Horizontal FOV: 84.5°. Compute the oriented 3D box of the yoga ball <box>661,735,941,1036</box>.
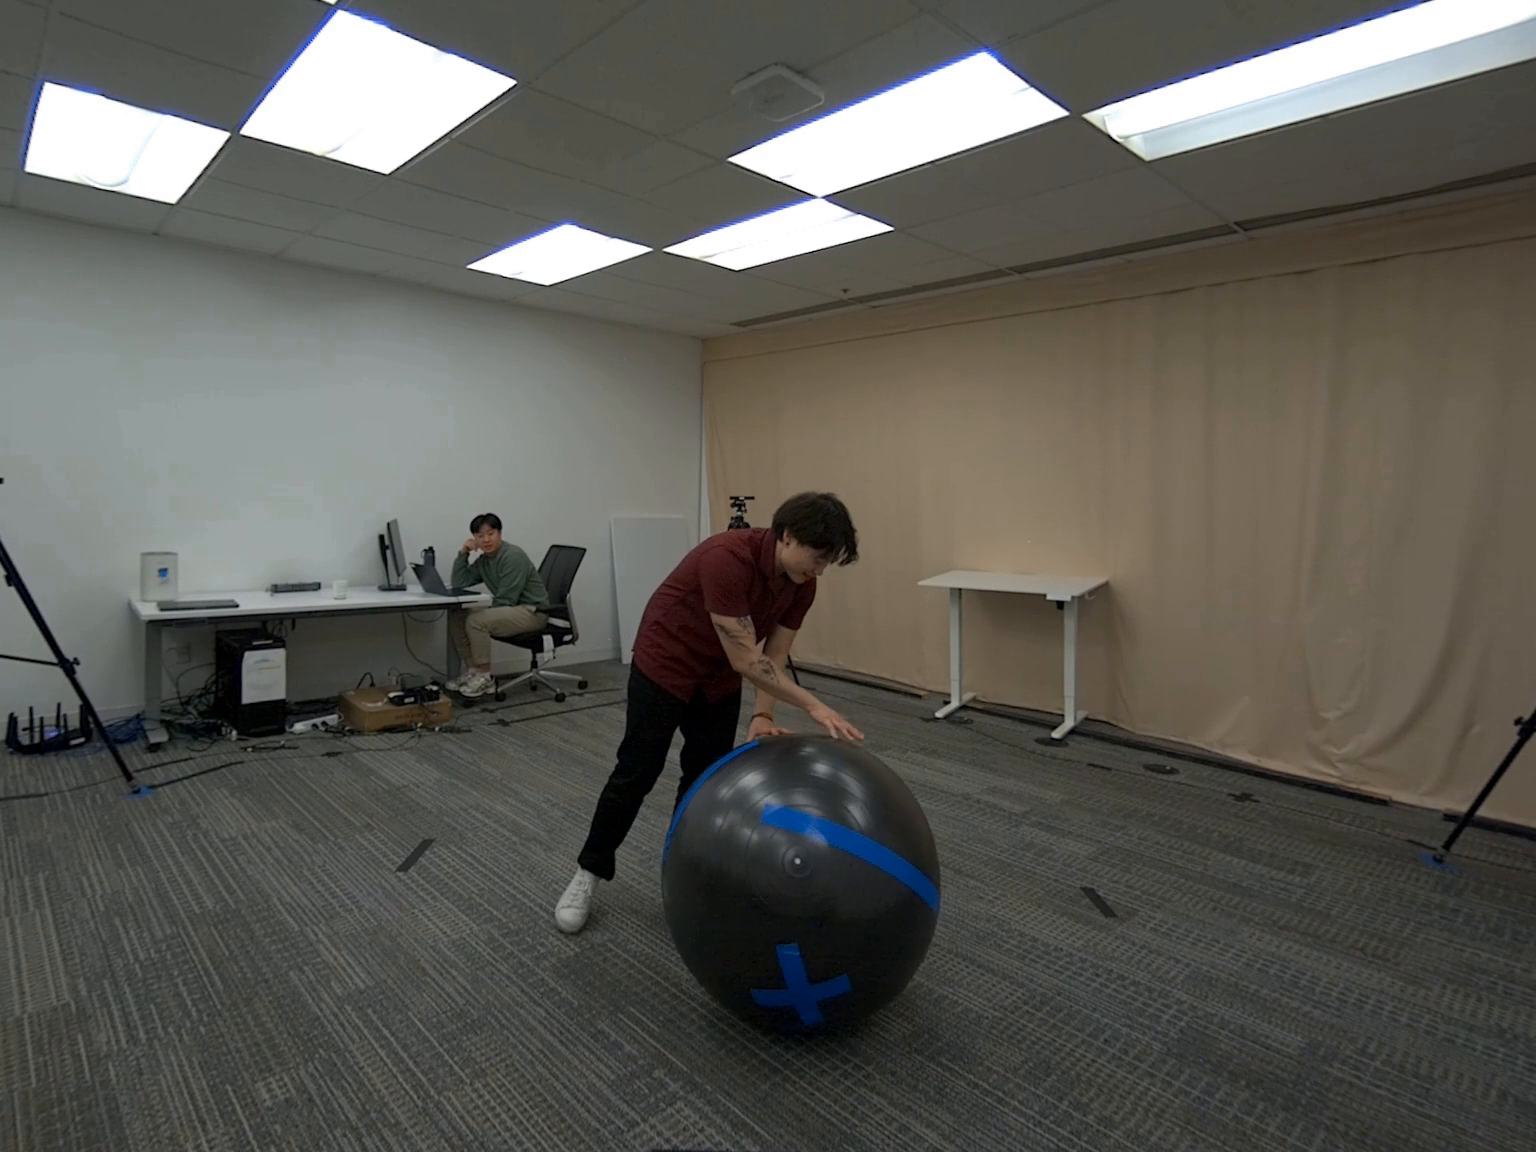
[{"bbox_3d":[0.086,0.827,2.306,0.757,0.756,0.761,1,4,-1],"label":"yoga ball"}]
